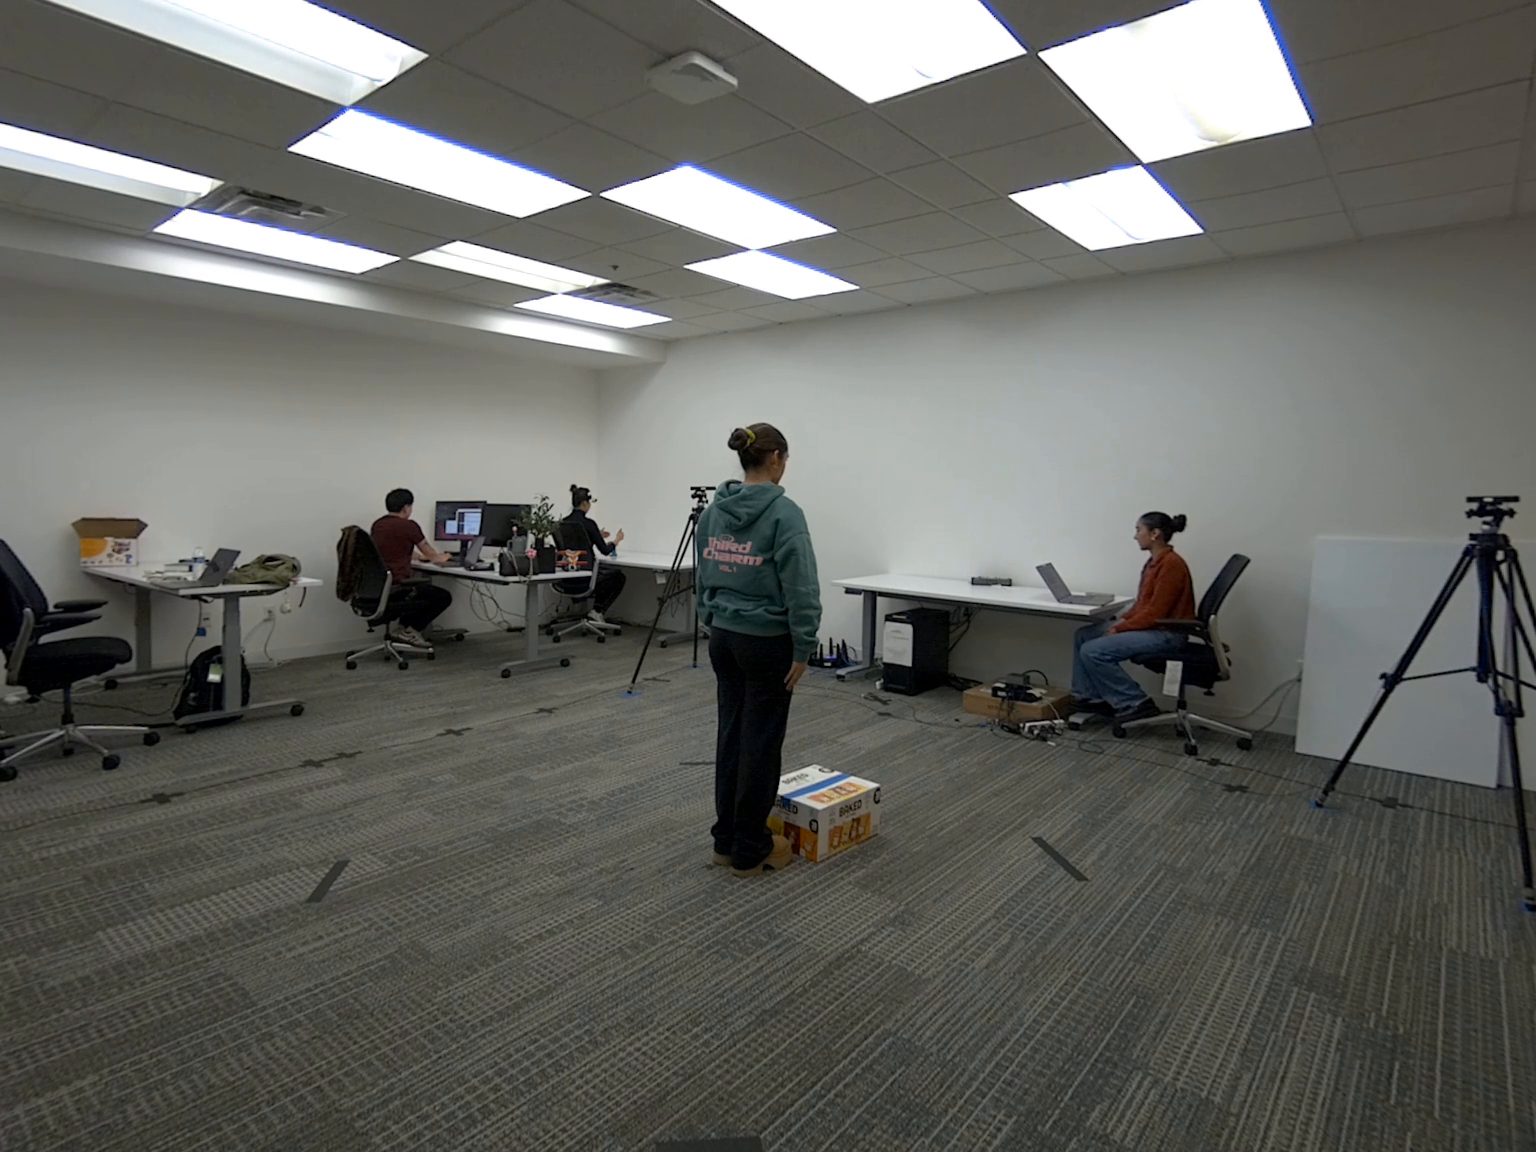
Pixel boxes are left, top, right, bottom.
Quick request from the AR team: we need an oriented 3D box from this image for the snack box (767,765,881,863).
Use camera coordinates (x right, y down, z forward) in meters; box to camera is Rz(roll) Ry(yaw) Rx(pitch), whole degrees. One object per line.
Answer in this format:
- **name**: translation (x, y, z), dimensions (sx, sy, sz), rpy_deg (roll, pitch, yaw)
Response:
- **snack box**: translation (0.190, 0.941, 3.427), dimensions (0.352, 0.205, 0.393), rpy_deg (6, 7, 43)
